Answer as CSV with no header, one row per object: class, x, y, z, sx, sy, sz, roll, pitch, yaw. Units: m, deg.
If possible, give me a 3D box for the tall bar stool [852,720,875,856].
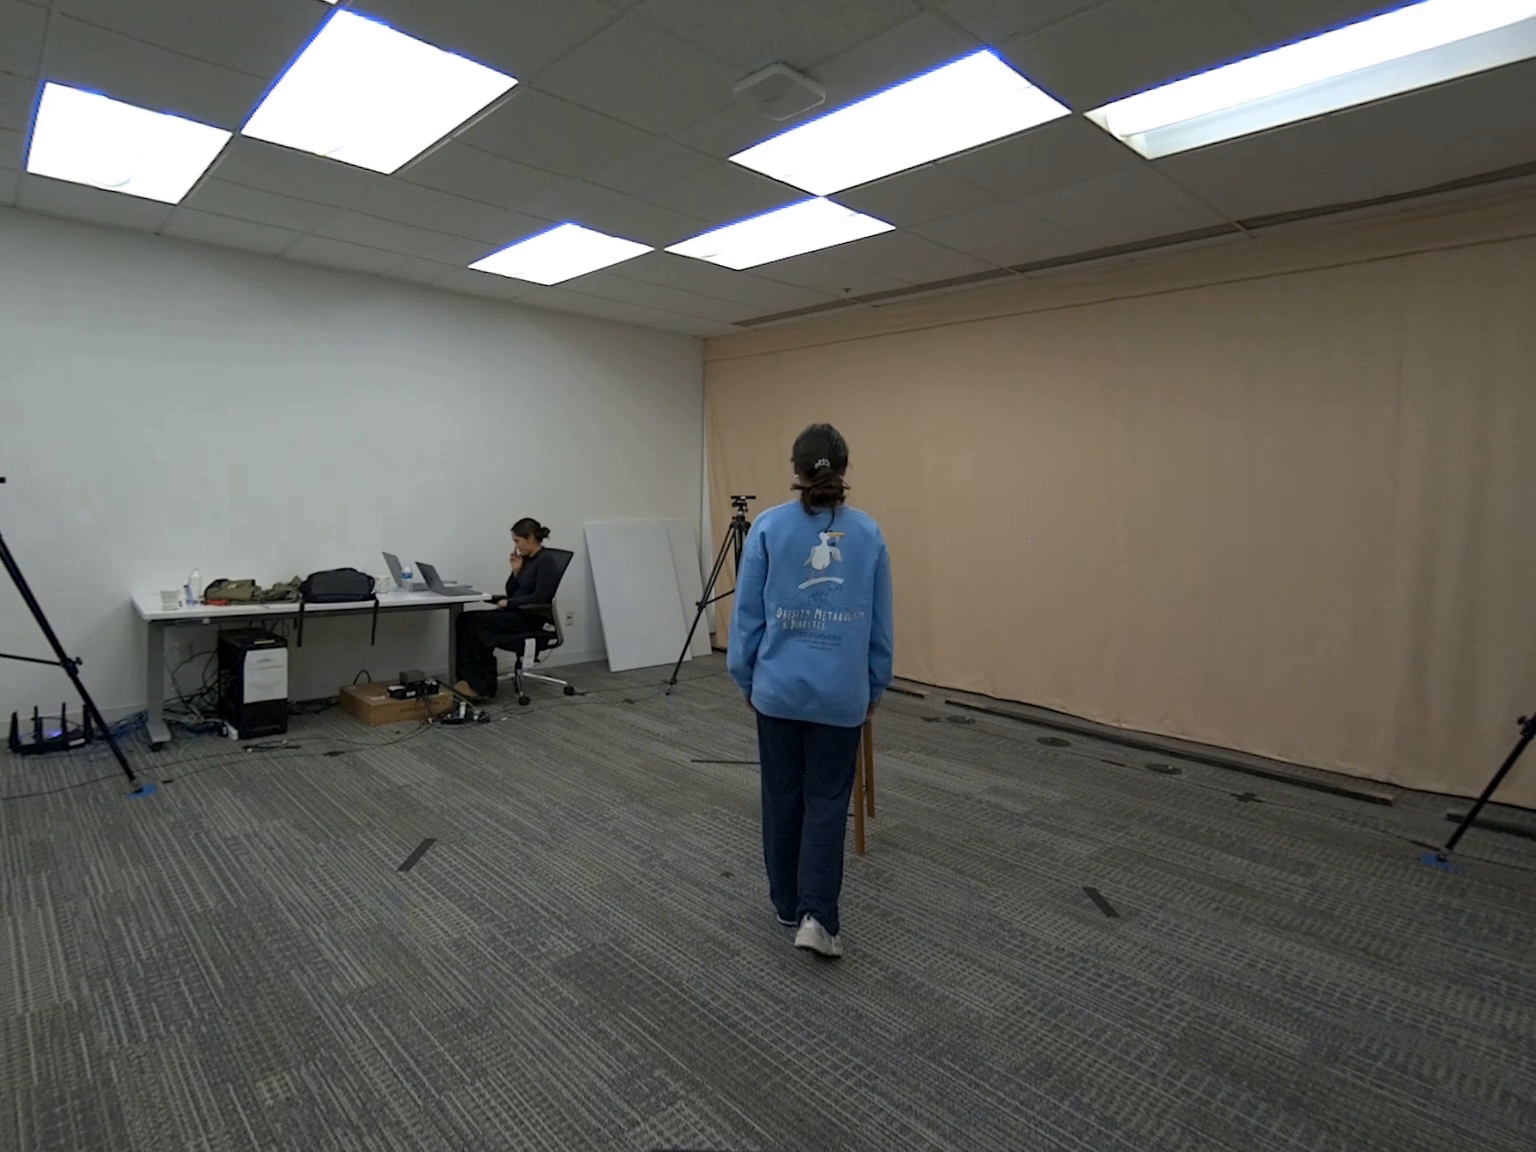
tall bar stool,0.244,0.640,3.531,0.462,0.887,0.464,2,5,13
